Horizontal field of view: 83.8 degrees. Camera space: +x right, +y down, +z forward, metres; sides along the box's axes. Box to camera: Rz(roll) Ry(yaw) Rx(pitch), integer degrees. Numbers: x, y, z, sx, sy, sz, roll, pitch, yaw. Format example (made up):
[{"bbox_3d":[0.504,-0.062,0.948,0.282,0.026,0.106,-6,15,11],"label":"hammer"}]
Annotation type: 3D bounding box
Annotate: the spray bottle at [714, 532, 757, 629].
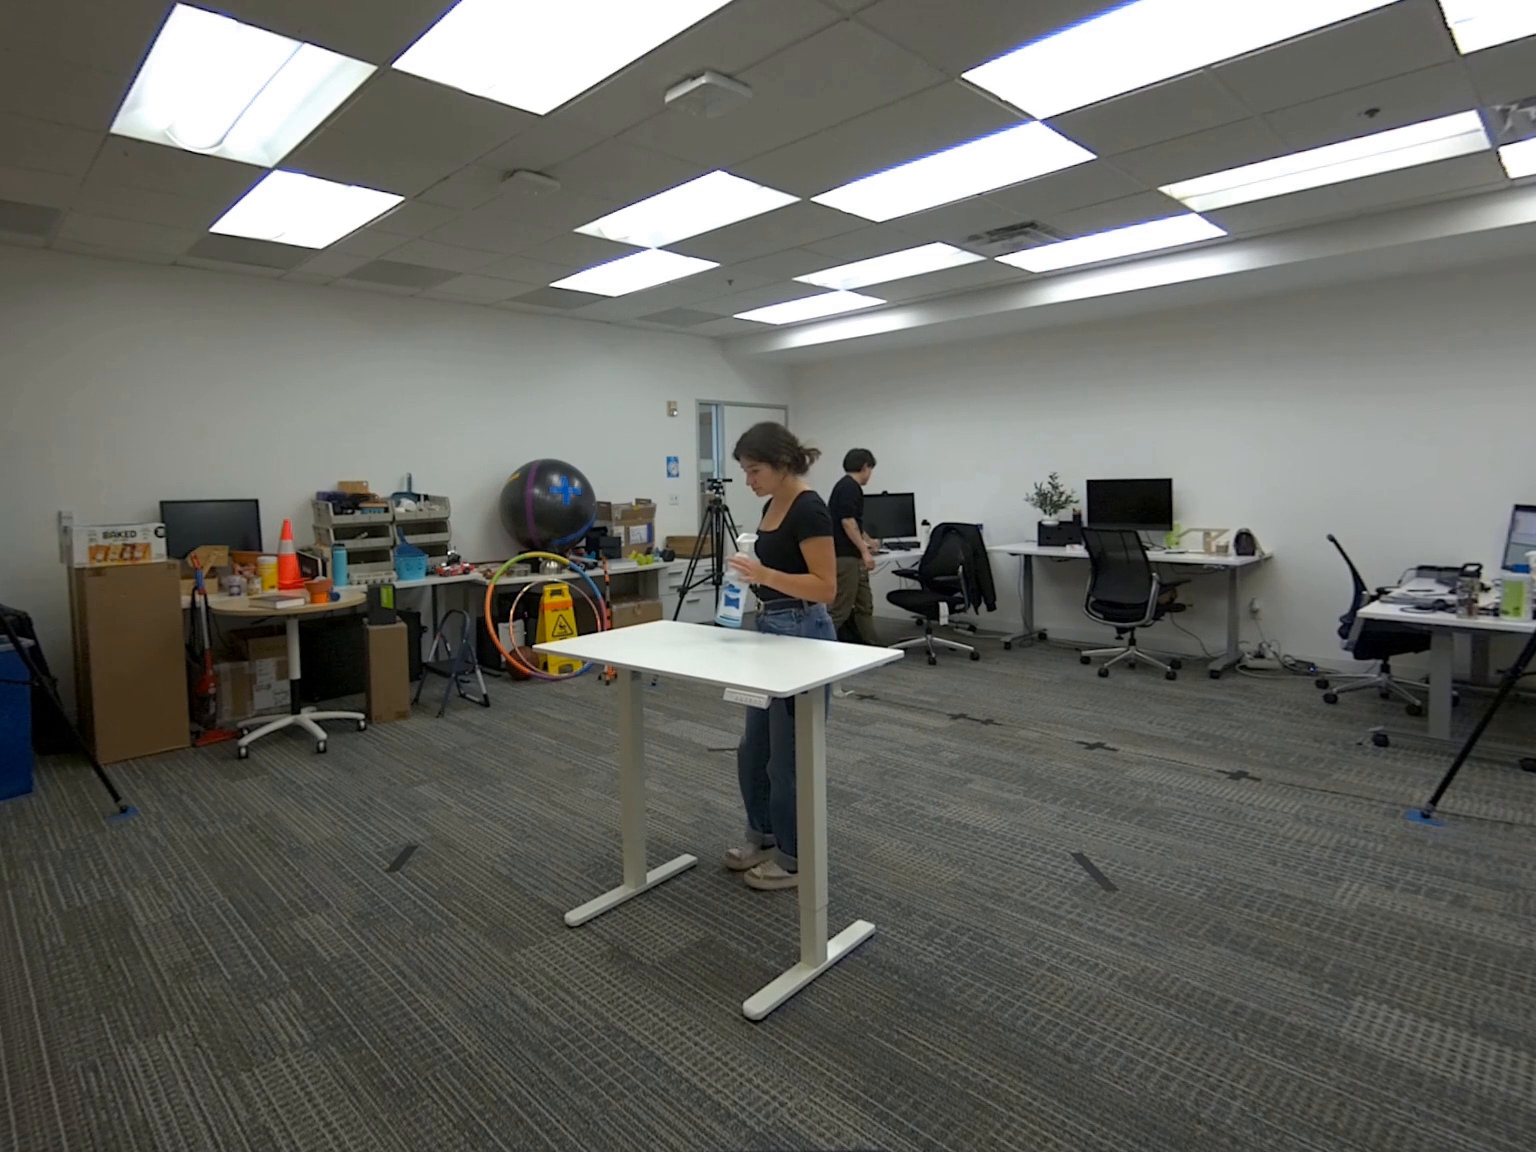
[{"bbox_3d":[-0.093,0.012,2.708,0.088,0.297,0.089,12,3,-26],"label":"spray bottle"}]
